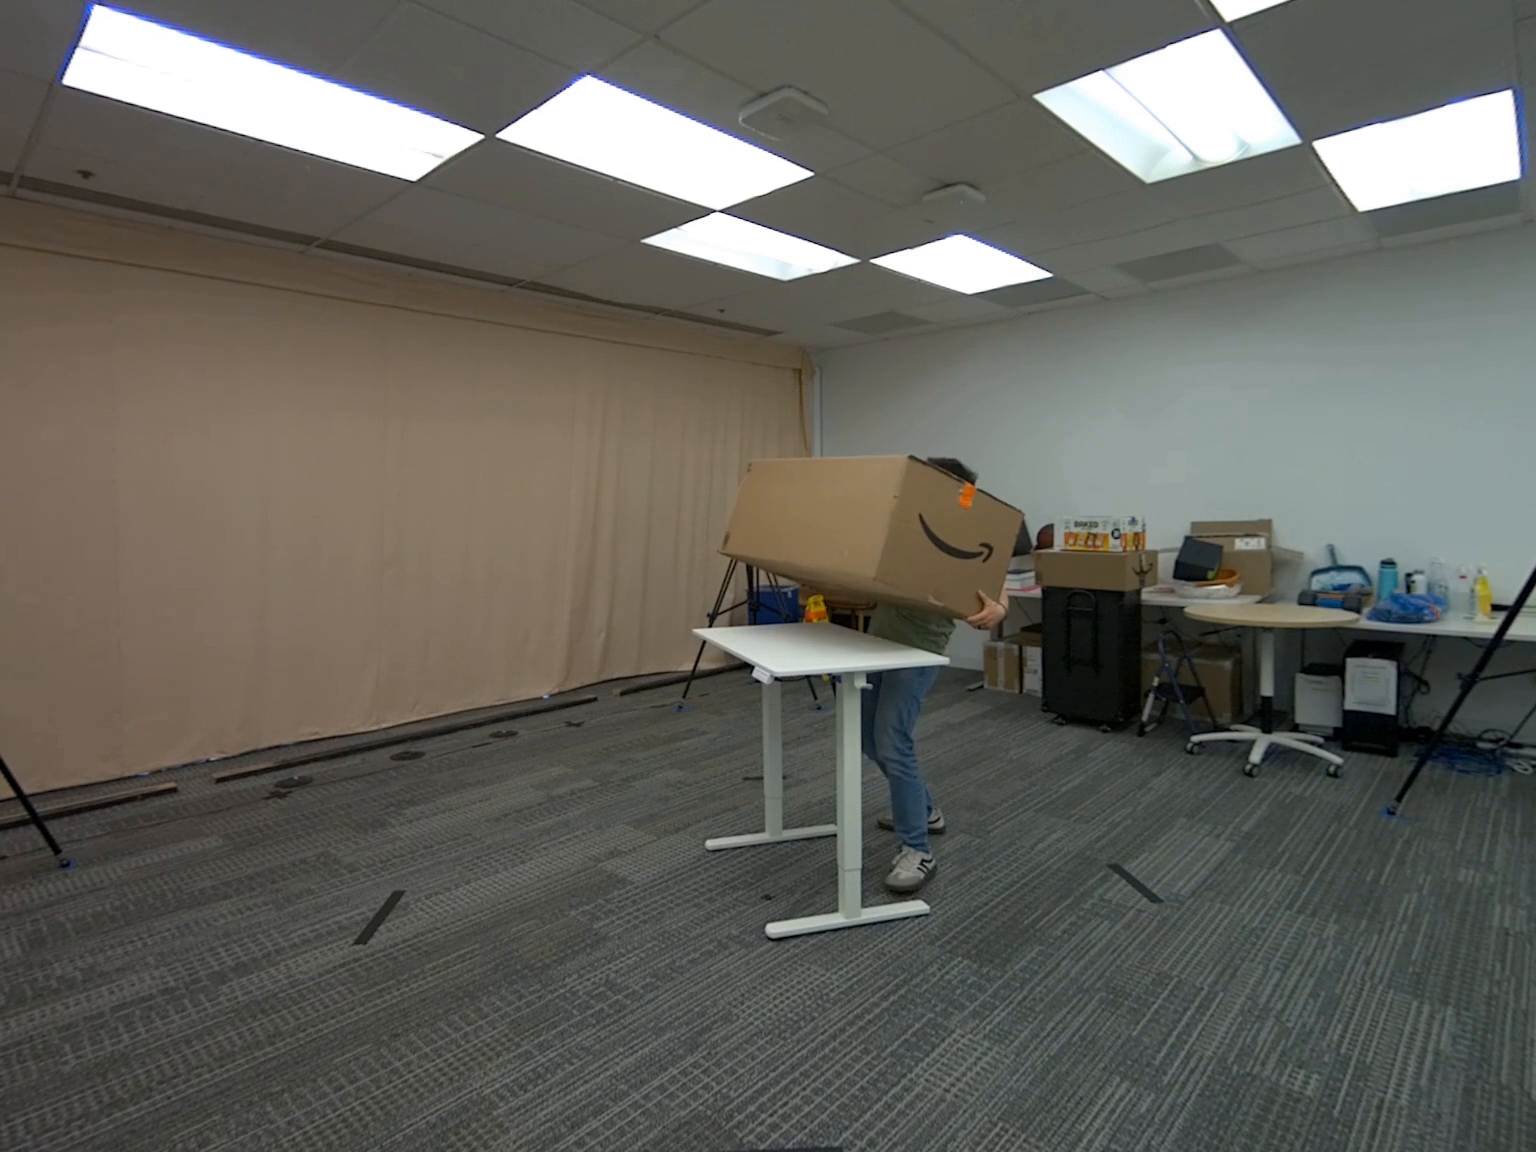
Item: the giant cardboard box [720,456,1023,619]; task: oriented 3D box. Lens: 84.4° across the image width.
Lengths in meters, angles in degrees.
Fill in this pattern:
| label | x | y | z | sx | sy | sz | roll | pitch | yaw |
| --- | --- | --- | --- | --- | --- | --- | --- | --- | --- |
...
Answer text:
| label | x | y | z | sx | sy | sz | roll | pitch | yaw |
| --- | --- | --- | --- | --- | --- | --- | --- | --- | --- |
| giant cardboard box | 0.345 | -0.160 | 3.262 | 0.559 | 0.427 | 1.057 | 21 | -5 | -31 |
